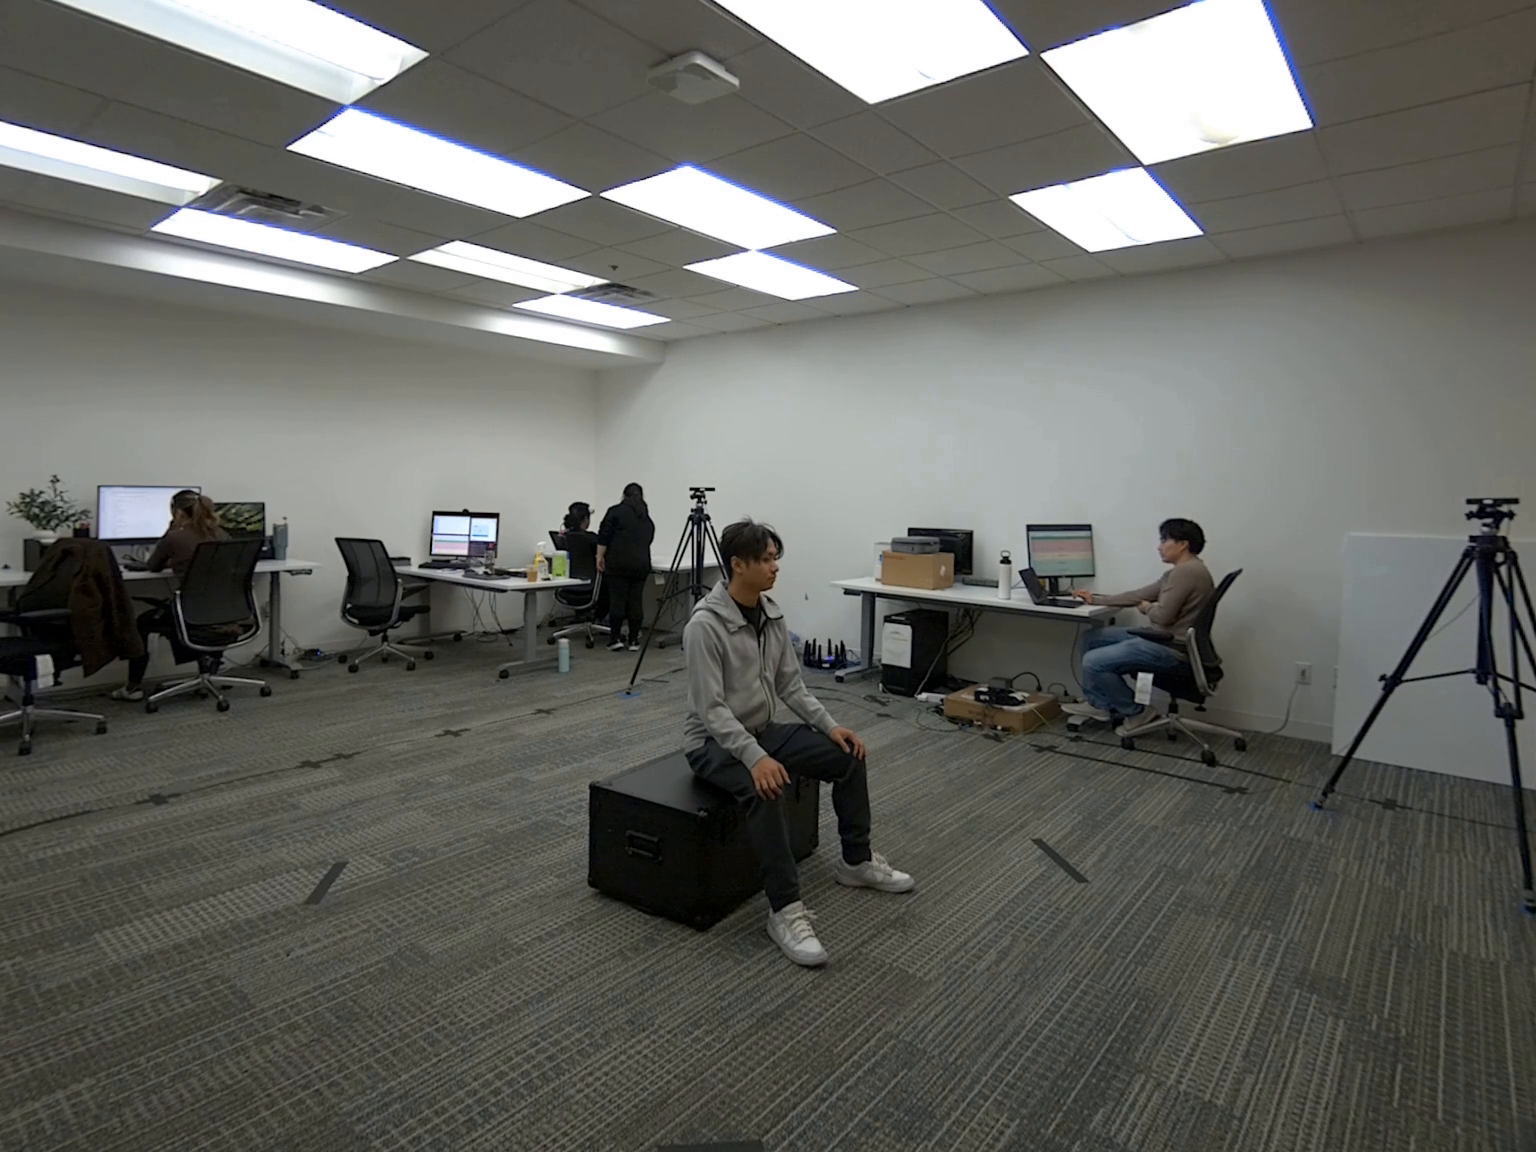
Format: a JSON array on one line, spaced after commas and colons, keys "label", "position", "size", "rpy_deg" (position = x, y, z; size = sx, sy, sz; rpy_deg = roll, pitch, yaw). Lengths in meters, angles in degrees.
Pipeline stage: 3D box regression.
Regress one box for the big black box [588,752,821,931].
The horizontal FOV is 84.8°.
[{"label": "big black box", "position": [-0.237, 0.887, 3.059], "size": [0.537, 0.395, 0.838], "rpy_deg": [3, 5, 32]}]
